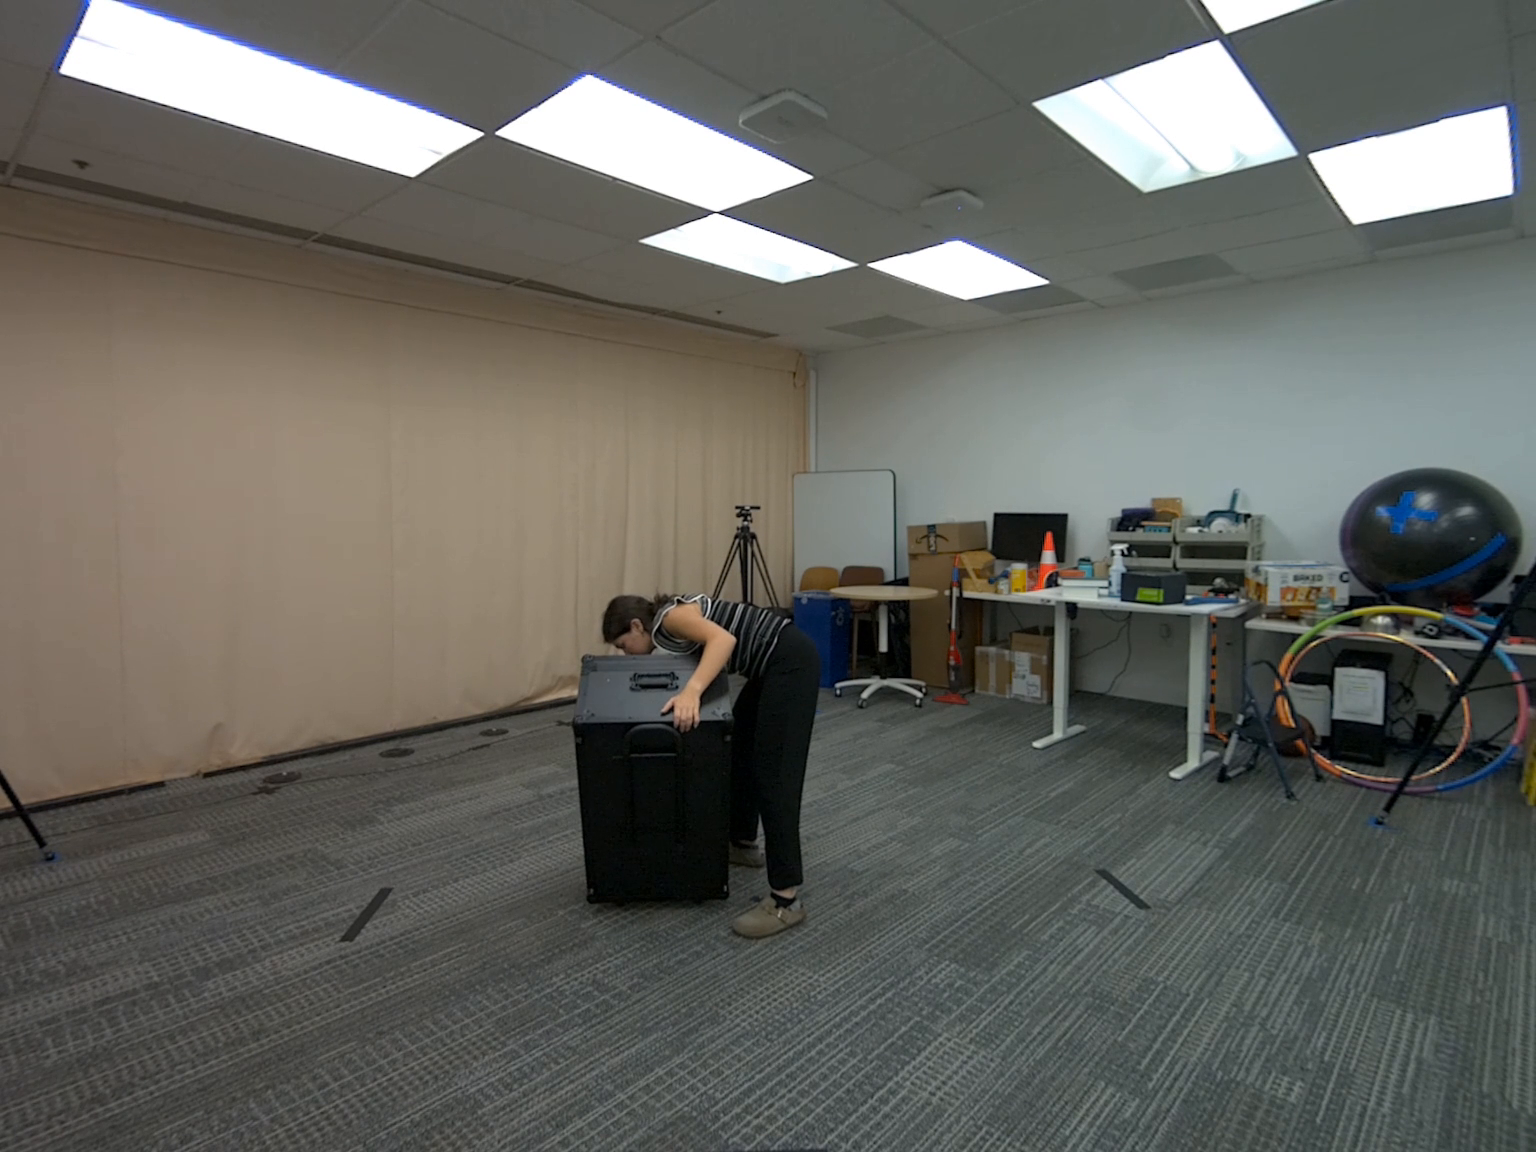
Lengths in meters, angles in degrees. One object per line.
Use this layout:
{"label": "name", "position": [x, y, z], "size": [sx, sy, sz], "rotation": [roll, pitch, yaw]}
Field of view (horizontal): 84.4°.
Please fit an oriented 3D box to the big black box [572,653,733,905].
{"label": "big black box", "position": [-0.377, 0.724, 2.862], "size": [0.520, 0.848, 0.403], "rotation": [0, 29, -3]}
